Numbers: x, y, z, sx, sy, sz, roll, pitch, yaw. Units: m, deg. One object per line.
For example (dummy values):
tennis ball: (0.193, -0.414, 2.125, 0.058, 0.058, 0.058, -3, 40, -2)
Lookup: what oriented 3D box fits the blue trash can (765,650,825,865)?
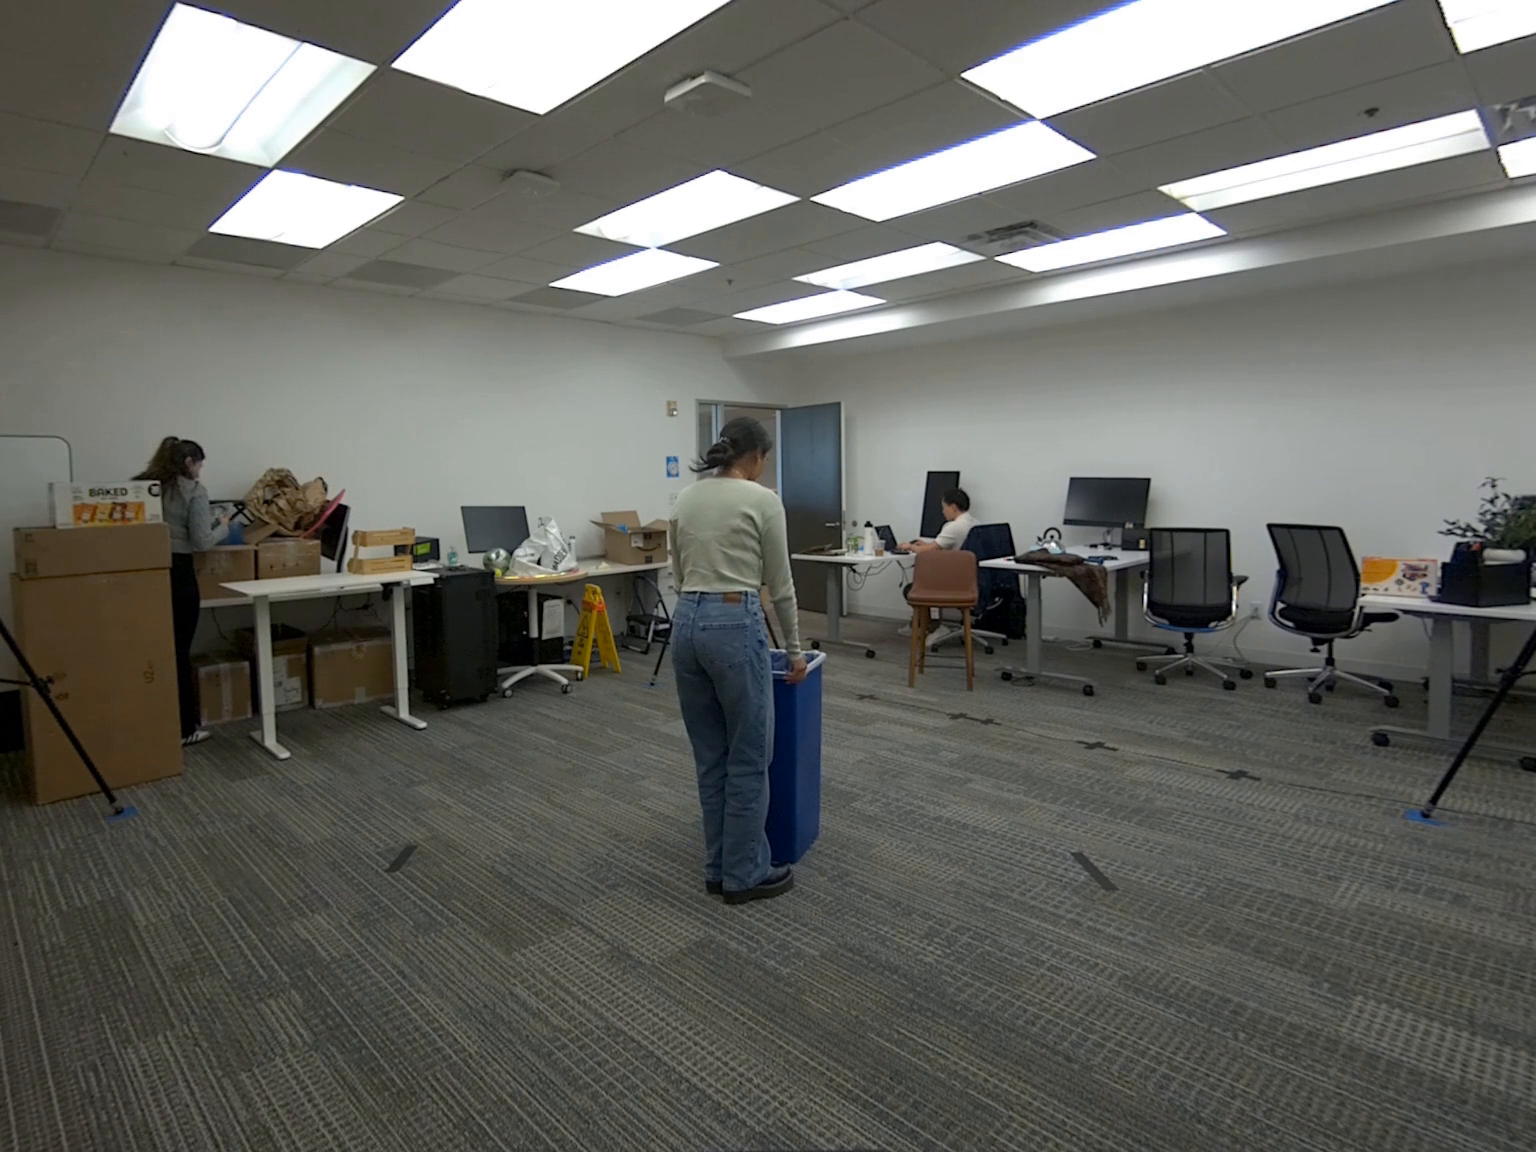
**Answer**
blue trash can: (0.008, 0.668, 3.251, 0.386, 0.711, 0.368, 1, 5, 22)
